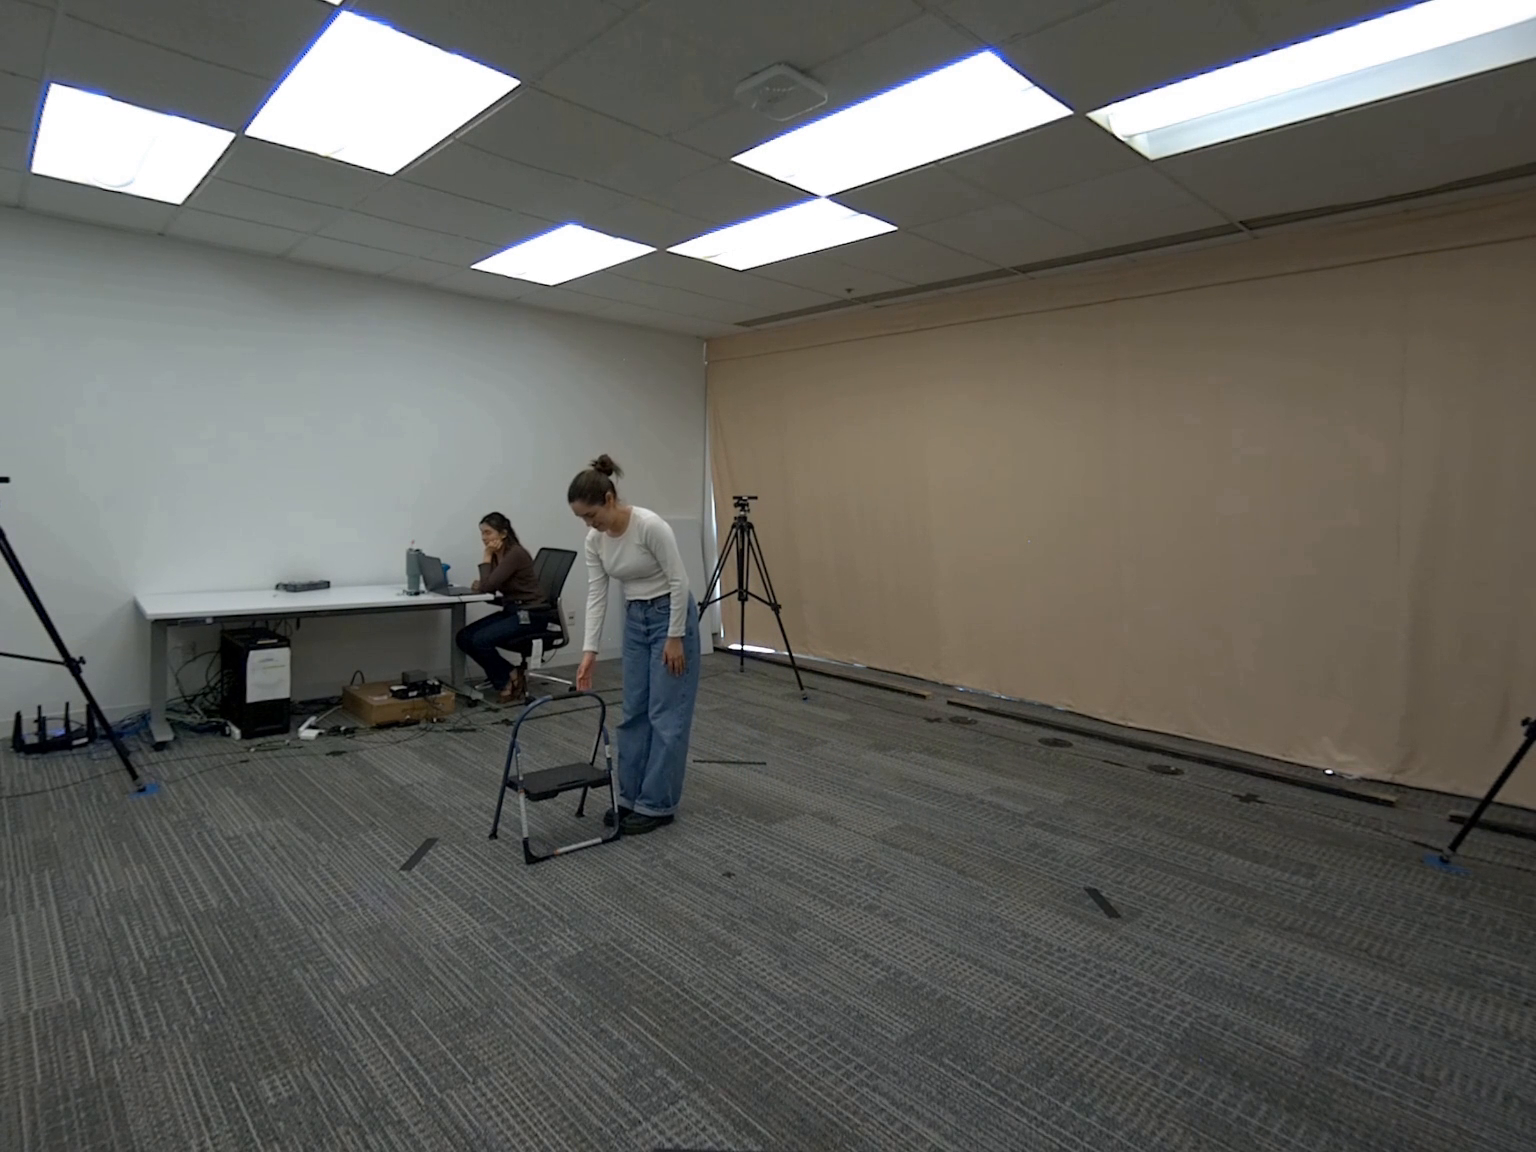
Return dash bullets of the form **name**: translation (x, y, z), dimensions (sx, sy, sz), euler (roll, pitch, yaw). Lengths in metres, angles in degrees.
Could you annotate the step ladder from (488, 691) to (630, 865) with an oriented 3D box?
- **step ladder**: translation (-0.863, 0.760, 3.382), dimensions (0.421, 0.604, 0.358), euler (-2, 5, -42)
